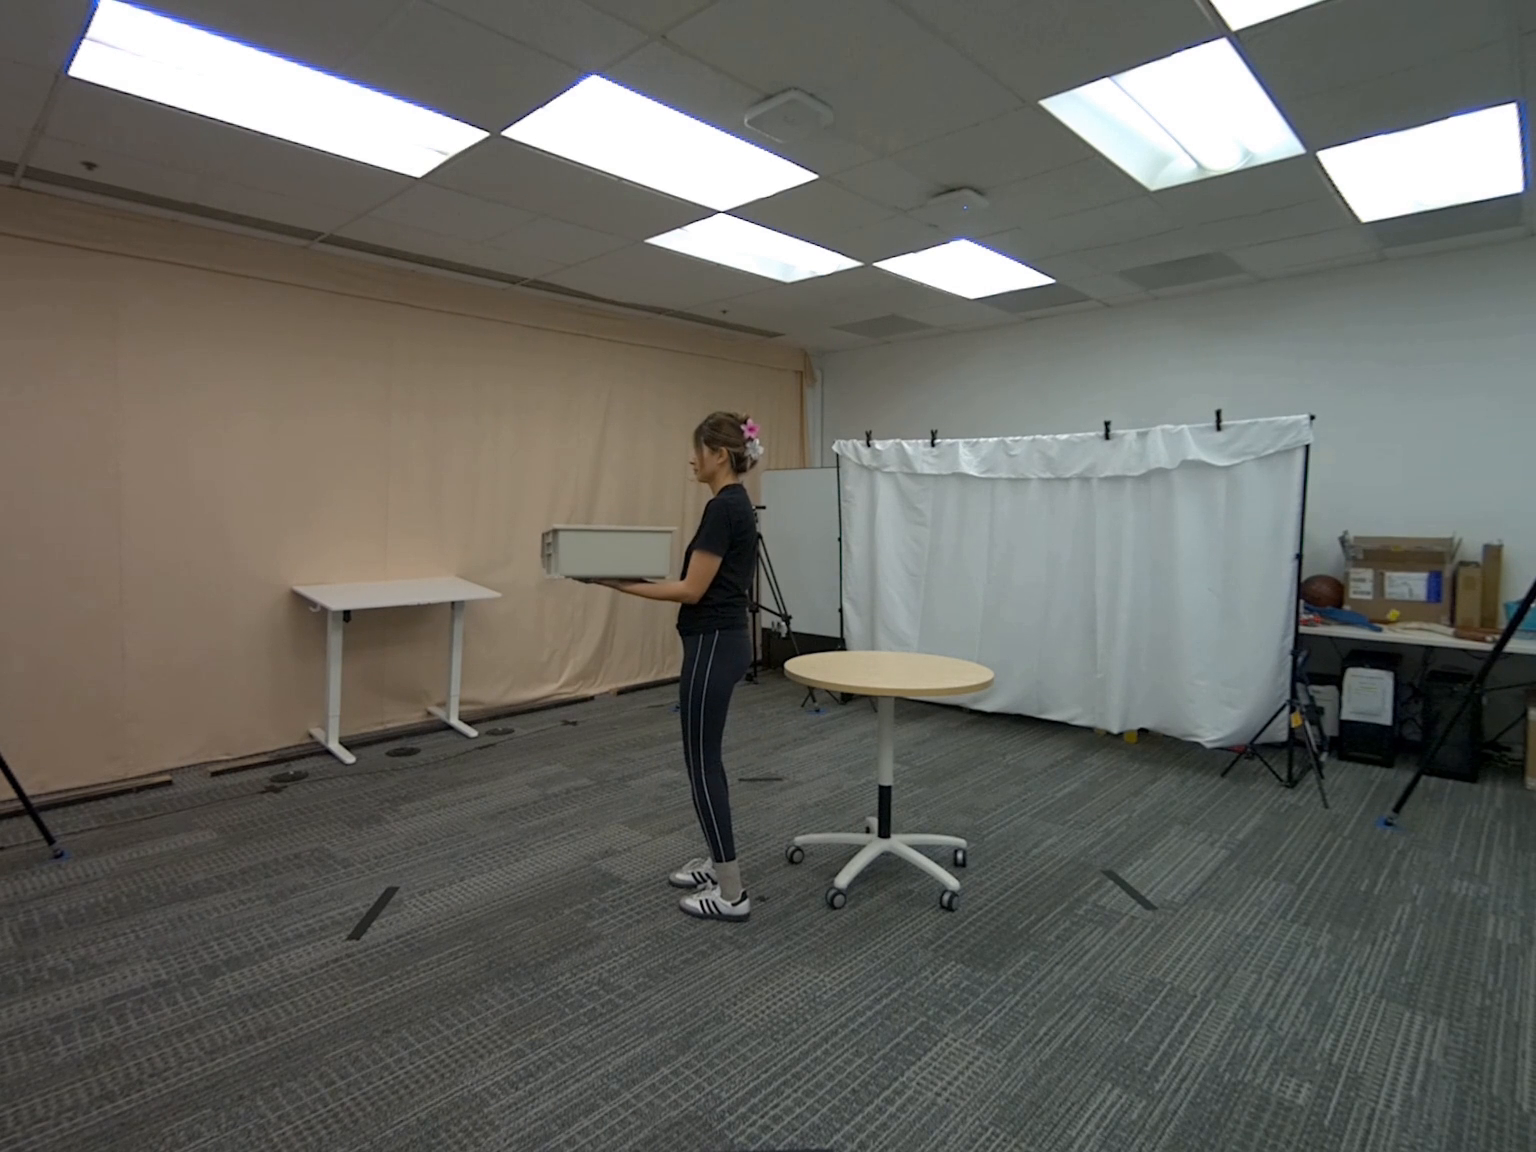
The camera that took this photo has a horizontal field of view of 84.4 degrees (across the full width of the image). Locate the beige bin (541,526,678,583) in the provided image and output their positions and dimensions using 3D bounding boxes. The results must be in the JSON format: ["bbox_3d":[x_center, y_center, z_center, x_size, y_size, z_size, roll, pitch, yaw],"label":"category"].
[{"bbox_3d":[-0.577,-0.077,3.008,0.414,0.189,0.385,1,1,-20],"label":"beige bin"}]
